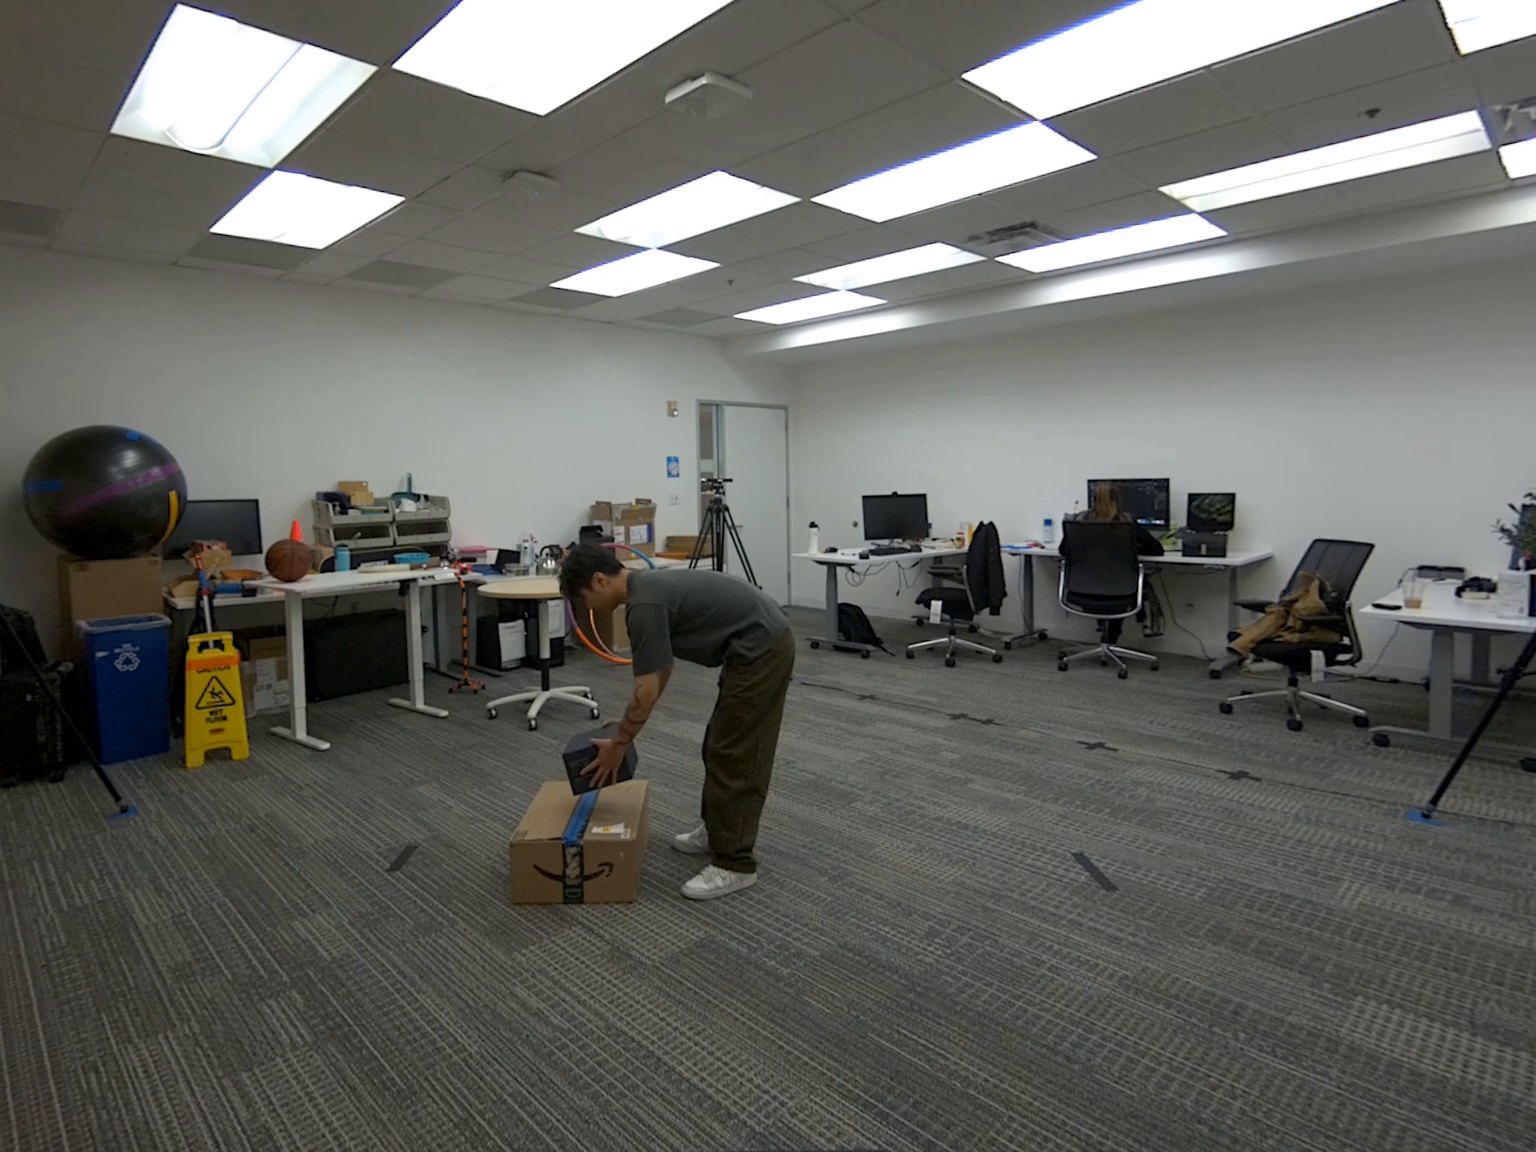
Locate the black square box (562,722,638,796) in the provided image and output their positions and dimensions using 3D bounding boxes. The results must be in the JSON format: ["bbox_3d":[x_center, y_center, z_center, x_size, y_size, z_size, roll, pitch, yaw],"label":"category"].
[{"bbox_3d":[-0.608,0.652,3.090,0.217,0.155,0.229,-16,7,-1],"label":"black square box"}]
